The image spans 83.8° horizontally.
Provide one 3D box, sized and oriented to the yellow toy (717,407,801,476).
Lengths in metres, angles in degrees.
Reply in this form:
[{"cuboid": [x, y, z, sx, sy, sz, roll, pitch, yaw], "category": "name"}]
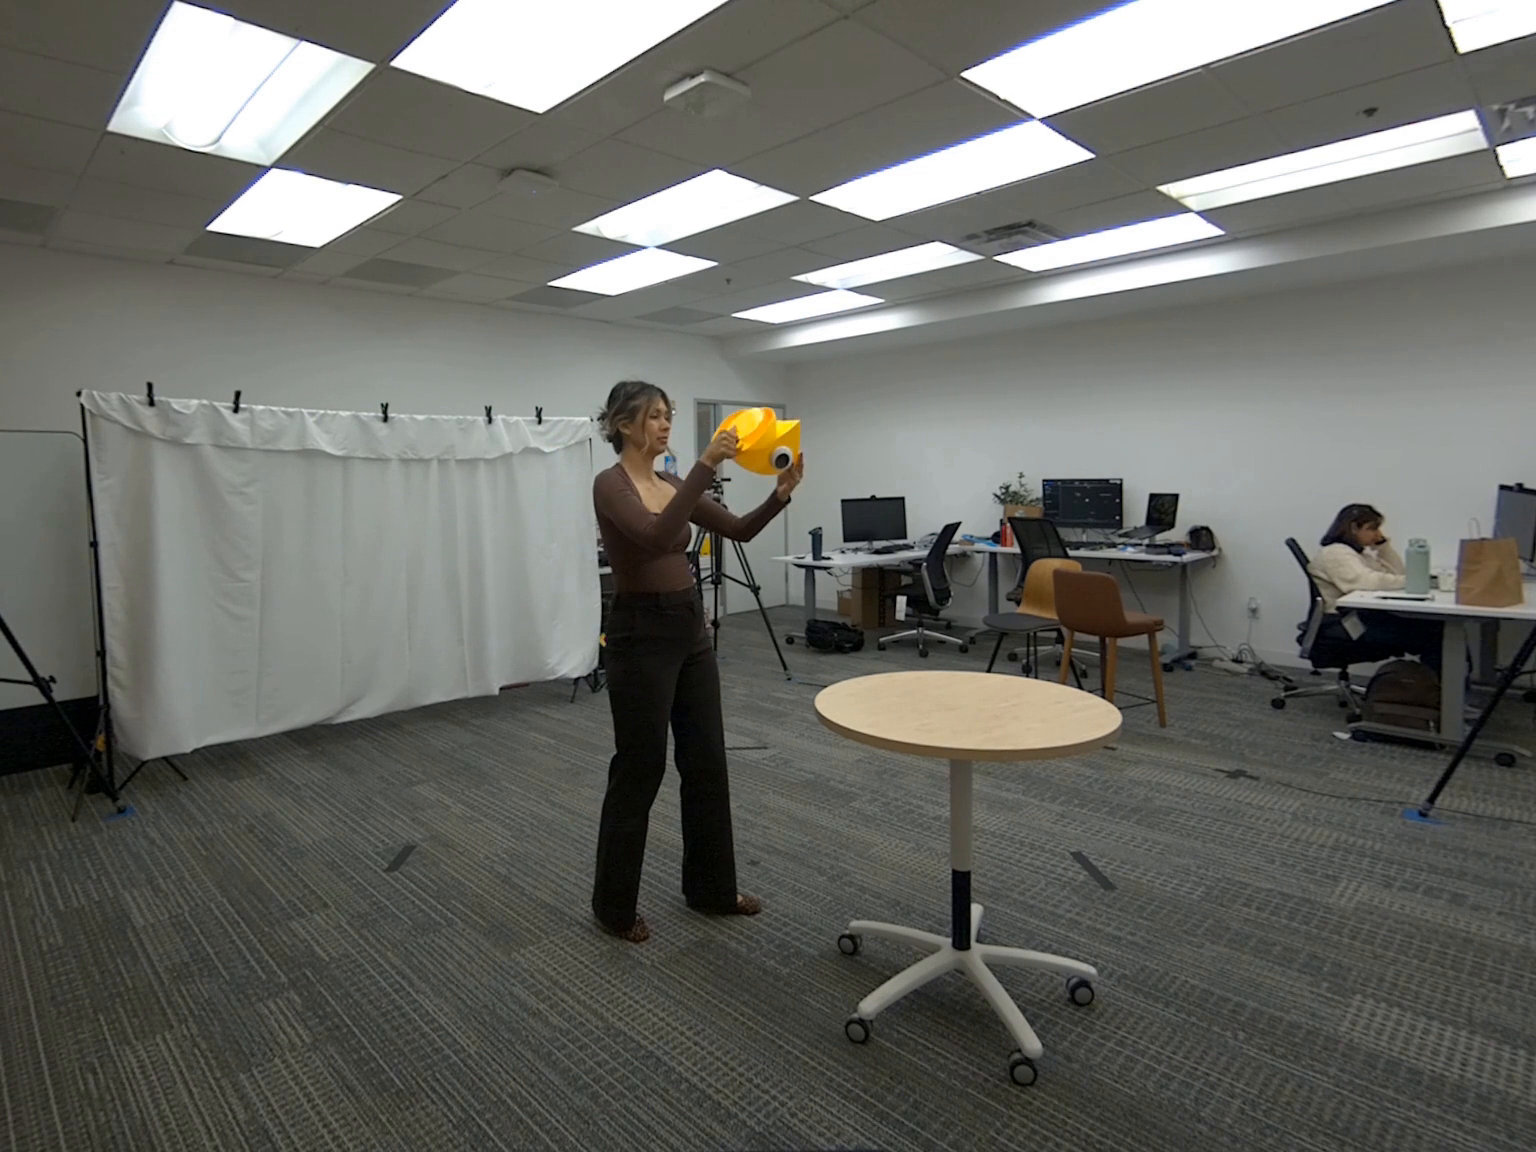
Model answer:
[{"cuboid": [-0.009, -0.341, 2.399, 0.211, 0.194, 0.222, 5, -34, 45], "category": "yellow toy"}]
